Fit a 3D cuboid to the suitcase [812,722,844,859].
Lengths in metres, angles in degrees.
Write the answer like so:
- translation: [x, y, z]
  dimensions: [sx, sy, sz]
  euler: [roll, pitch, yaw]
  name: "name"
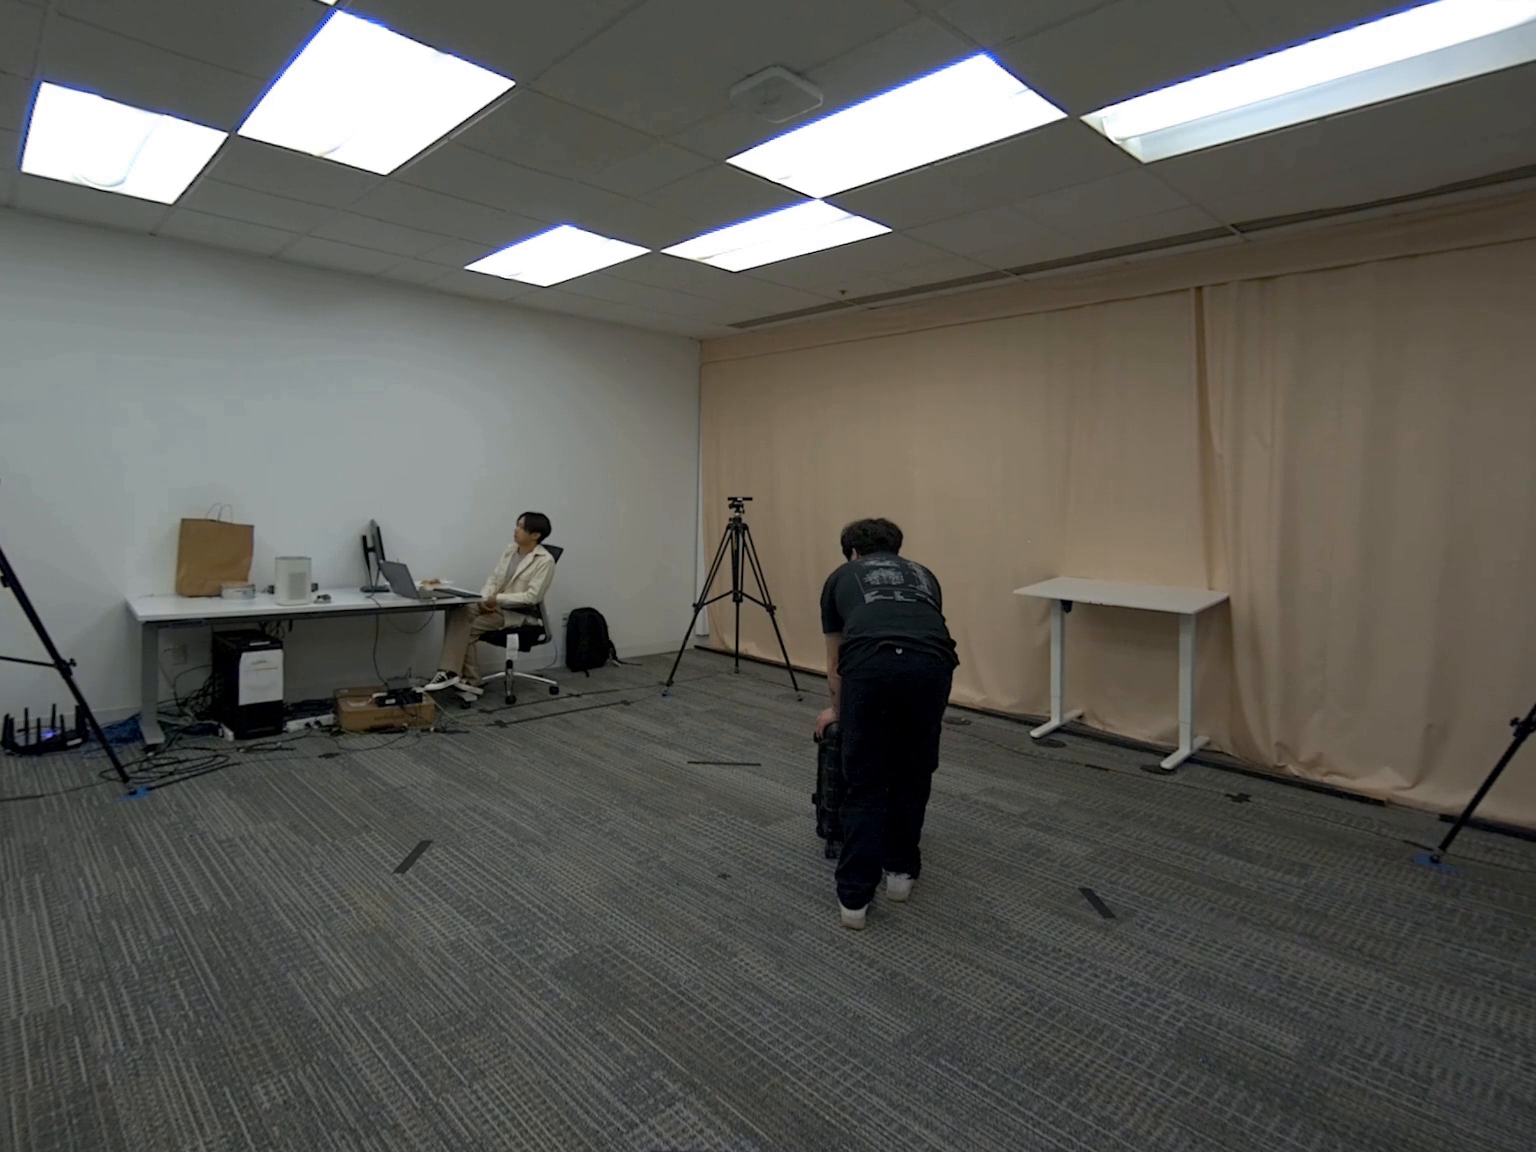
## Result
- translation: [0.386, 0.819, 3.413]
  dimensions: [0.374, 0.549, 0.249]
  euler: [1, 1, -6]
  name: "suitcase"
